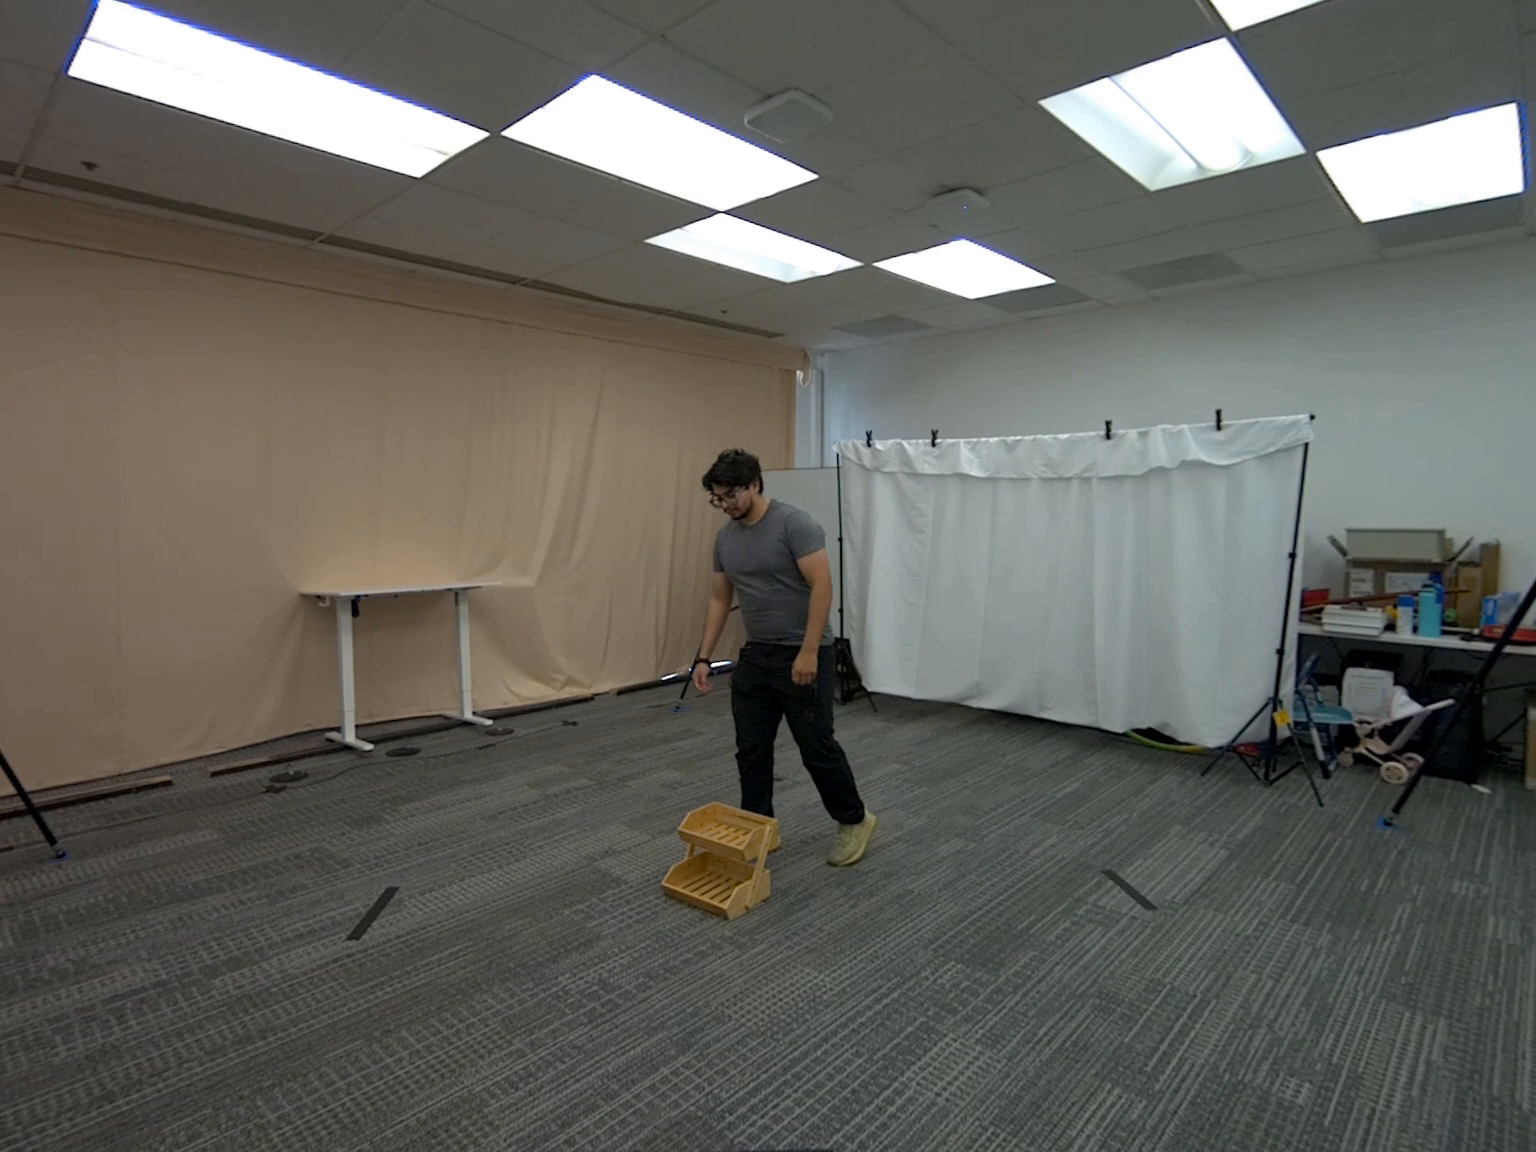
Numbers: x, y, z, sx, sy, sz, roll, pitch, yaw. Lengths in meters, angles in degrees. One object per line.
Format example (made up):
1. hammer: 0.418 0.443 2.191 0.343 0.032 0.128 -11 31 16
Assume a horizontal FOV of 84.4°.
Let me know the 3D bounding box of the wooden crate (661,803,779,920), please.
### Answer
1. wooden crate: -0.168 1.001 3.019 0.335 0.273 0.293 2 4 38
